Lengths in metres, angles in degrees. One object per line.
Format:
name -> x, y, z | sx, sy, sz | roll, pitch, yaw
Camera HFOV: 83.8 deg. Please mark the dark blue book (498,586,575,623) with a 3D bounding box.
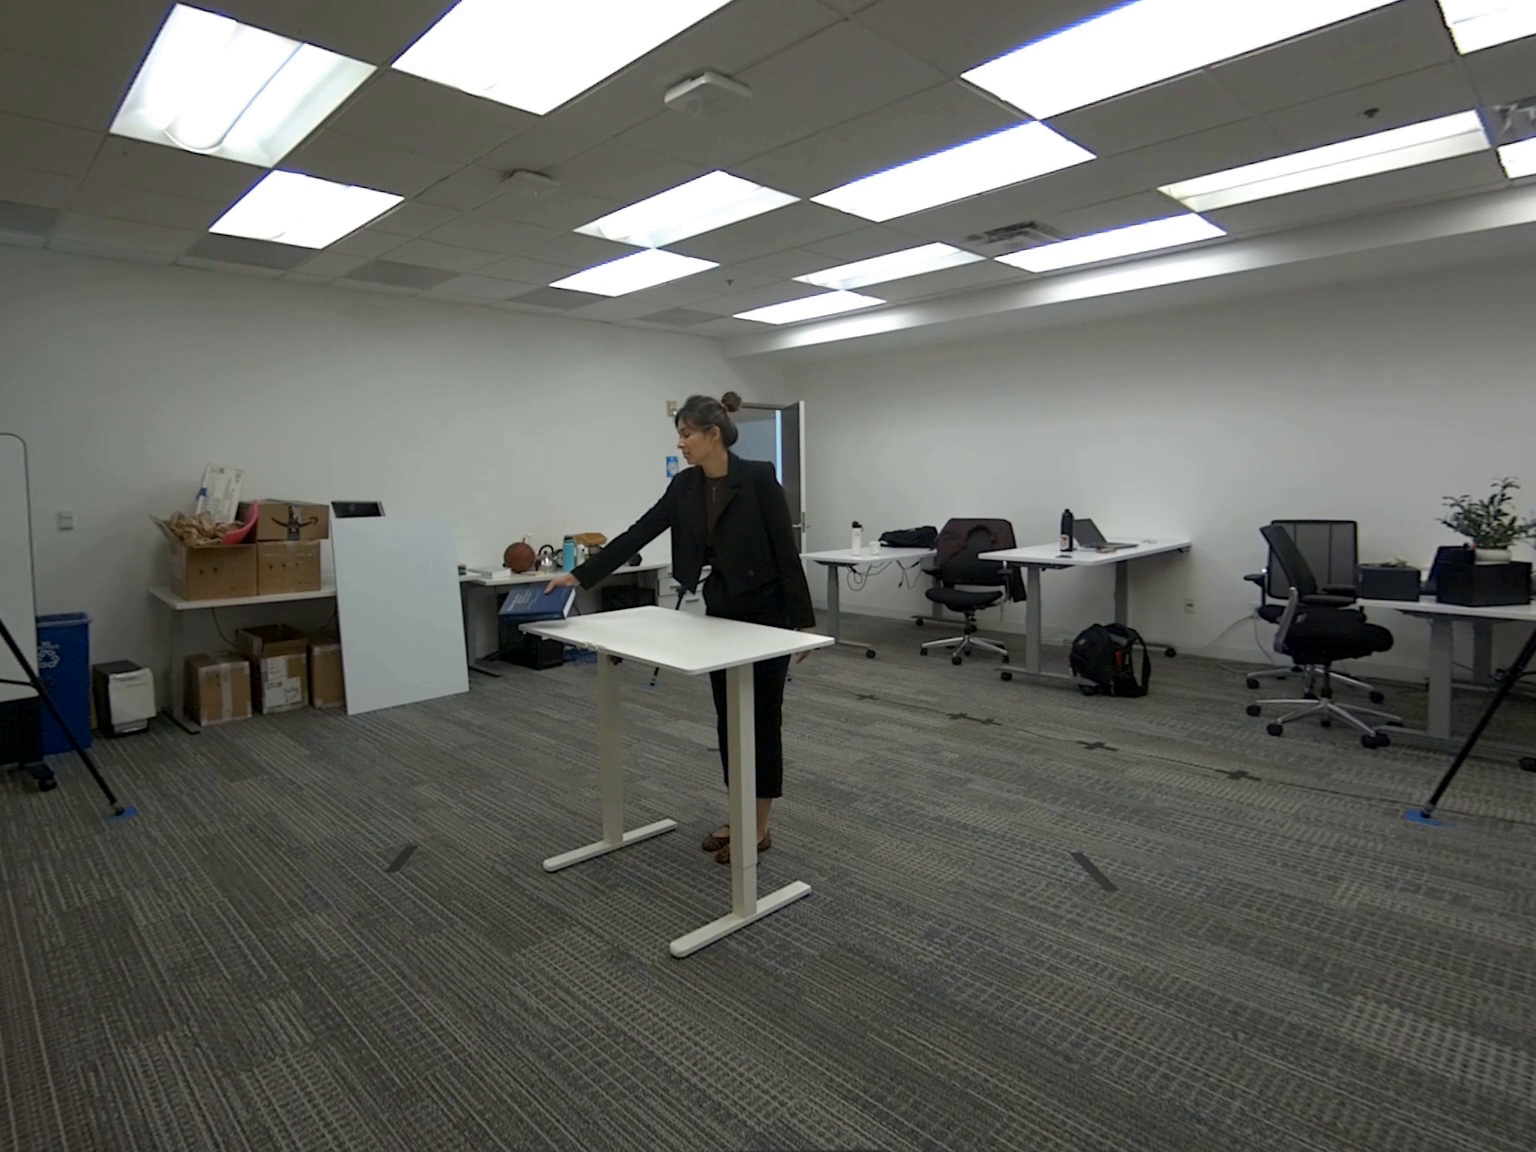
dark blue book -> -0.836, 0.104, 3.088 | 0.247, 0.044, 0.167 | -4, 32, 6
